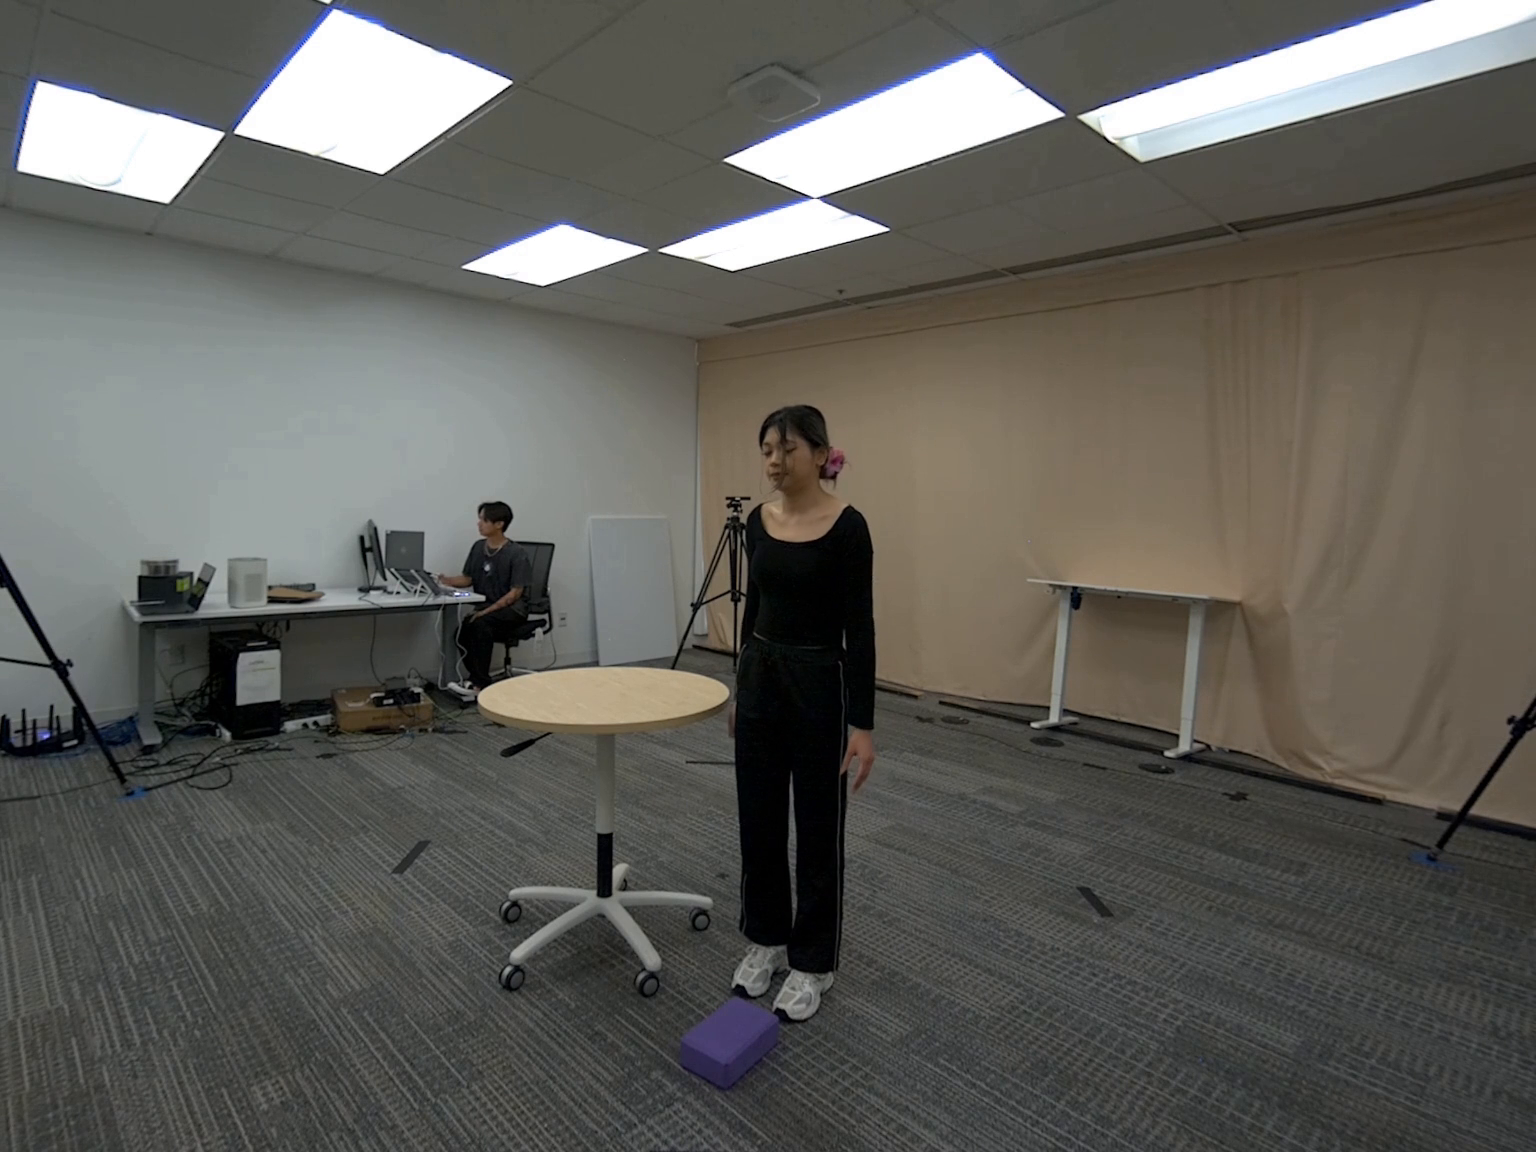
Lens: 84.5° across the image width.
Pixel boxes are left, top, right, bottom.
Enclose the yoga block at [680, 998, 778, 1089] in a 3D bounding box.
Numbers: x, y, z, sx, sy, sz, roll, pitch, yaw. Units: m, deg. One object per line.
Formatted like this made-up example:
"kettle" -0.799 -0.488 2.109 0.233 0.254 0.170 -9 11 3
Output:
"yoga block" -0.106 1.165 2.096 0.153 0.076 0.224 7 8 36
